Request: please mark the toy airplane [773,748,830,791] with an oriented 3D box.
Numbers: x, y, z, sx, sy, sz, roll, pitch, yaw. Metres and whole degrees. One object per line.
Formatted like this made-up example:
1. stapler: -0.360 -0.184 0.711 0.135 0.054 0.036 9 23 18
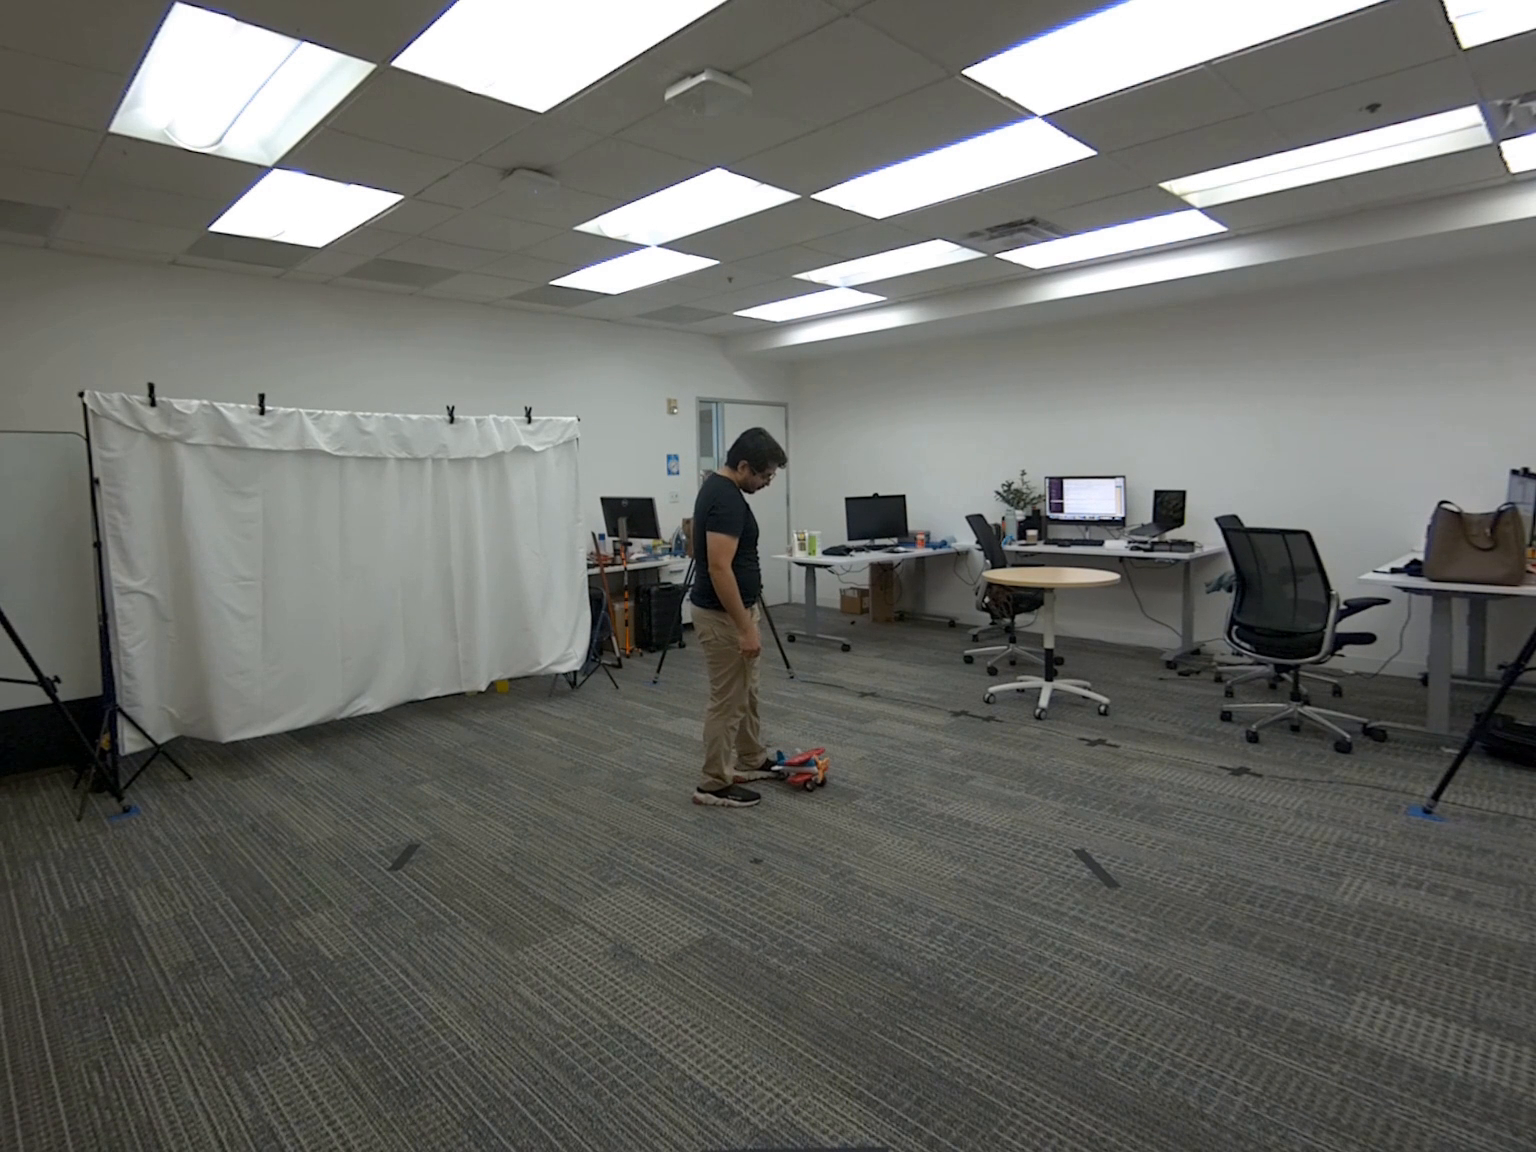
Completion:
1. toy airplane: 0.134 0.870 3.856 0.263 0.156 0.249 3 6 12
